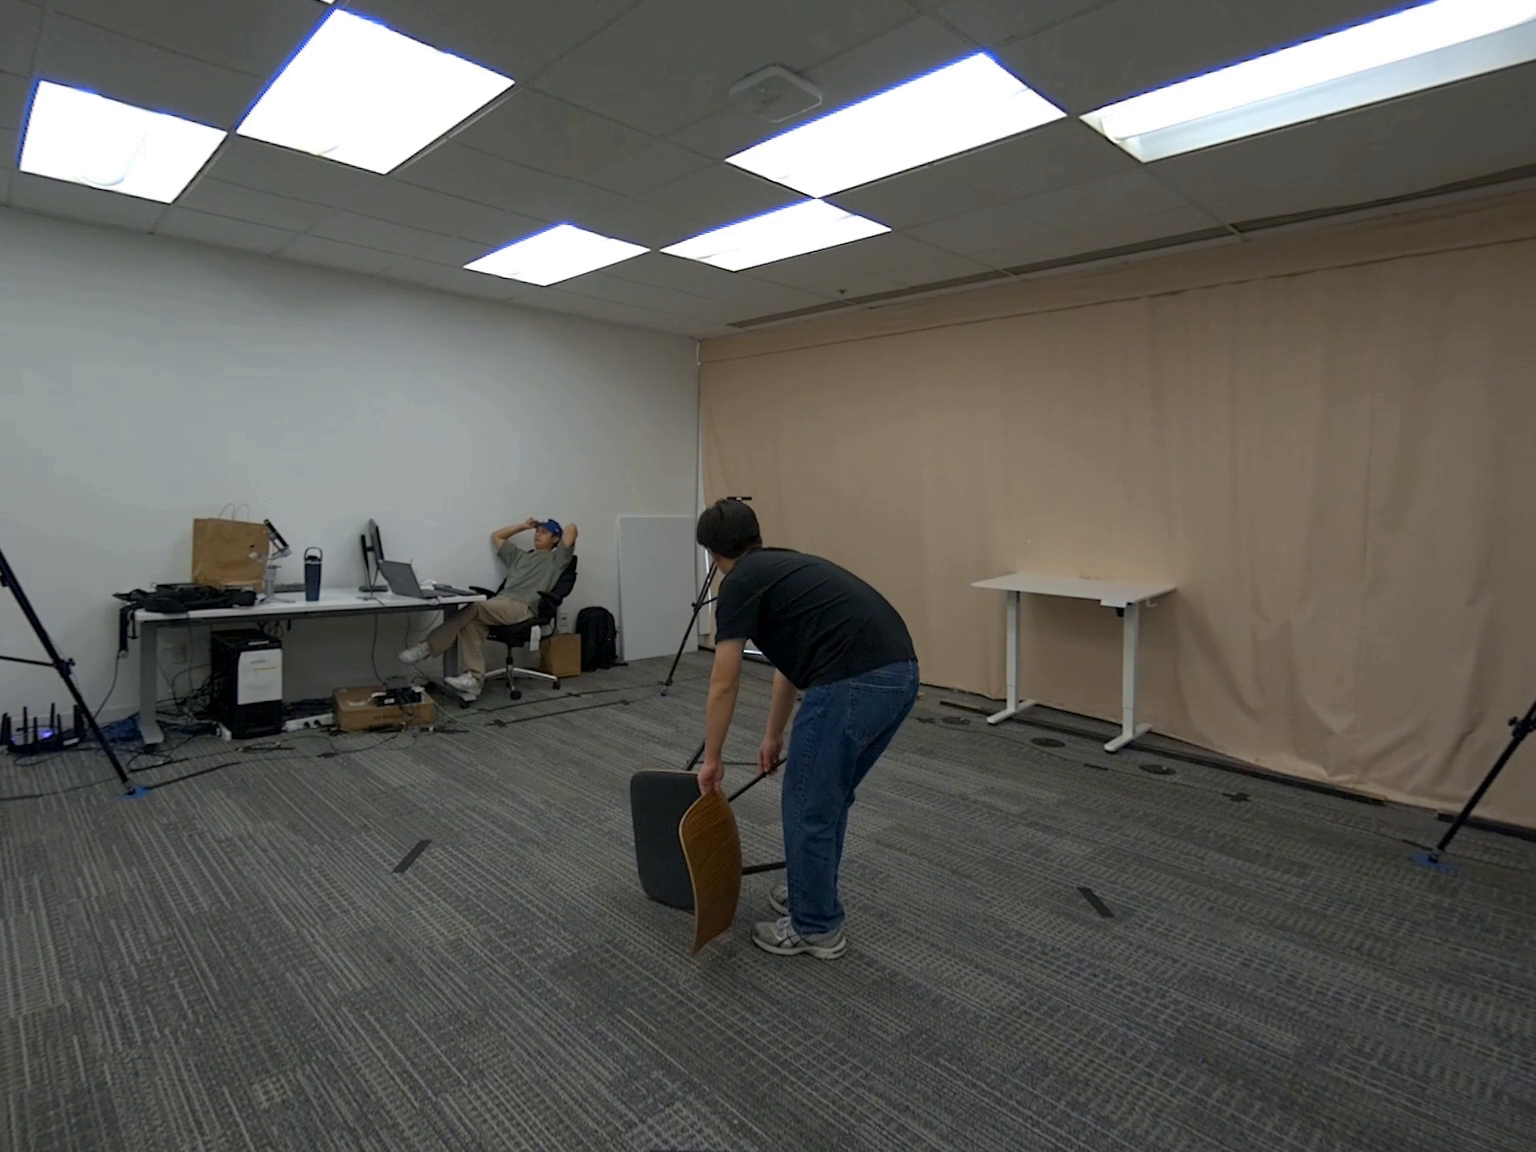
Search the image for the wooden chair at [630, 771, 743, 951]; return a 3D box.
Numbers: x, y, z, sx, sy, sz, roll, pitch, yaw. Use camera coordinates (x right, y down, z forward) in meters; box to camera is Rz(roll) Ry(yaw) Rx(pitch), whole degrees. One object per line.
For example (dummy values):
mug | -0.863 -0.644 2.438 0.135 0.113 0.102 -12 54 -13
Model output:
wooden chair | -0.244 0.887 2.840 0.533 0.477 0.863 -4 4 27
